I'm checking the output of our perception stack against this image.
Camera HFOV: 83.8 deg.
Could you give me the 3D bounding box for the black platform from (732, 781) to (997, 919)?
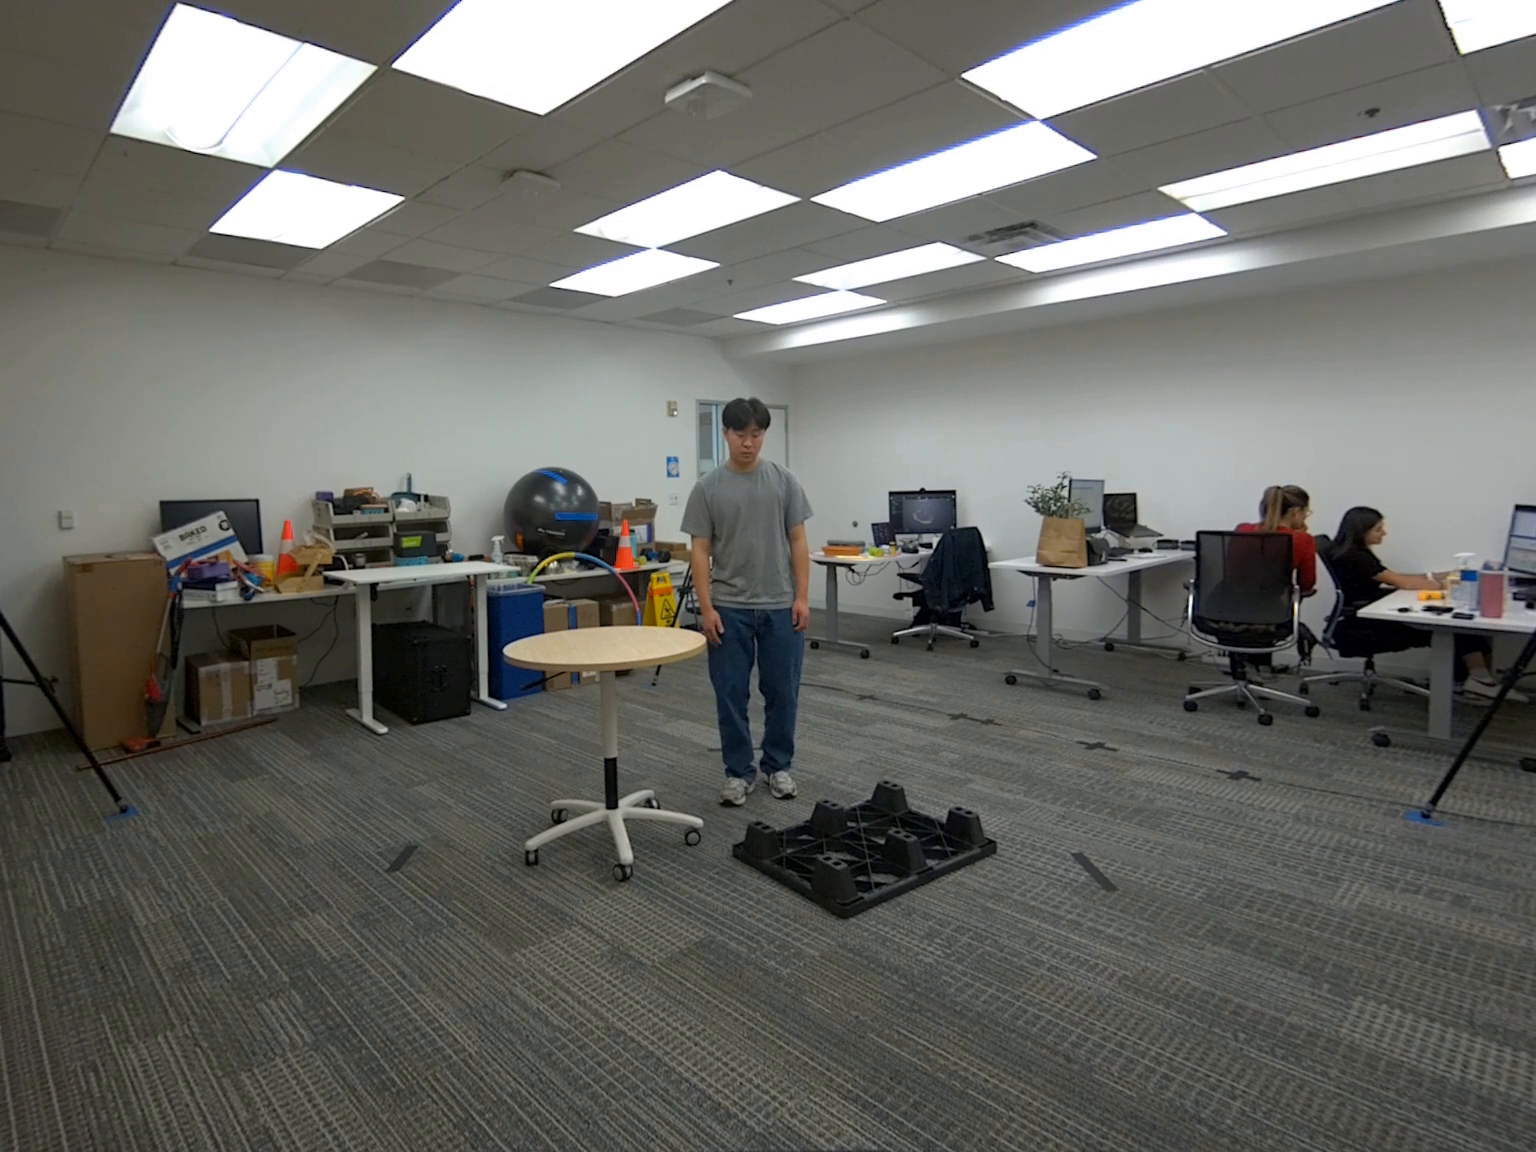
[{"bbox_3d":[0.360,0.967,3.168,0.785,0.142,0.624,-6,8,-38],"label":"black platform"}]
